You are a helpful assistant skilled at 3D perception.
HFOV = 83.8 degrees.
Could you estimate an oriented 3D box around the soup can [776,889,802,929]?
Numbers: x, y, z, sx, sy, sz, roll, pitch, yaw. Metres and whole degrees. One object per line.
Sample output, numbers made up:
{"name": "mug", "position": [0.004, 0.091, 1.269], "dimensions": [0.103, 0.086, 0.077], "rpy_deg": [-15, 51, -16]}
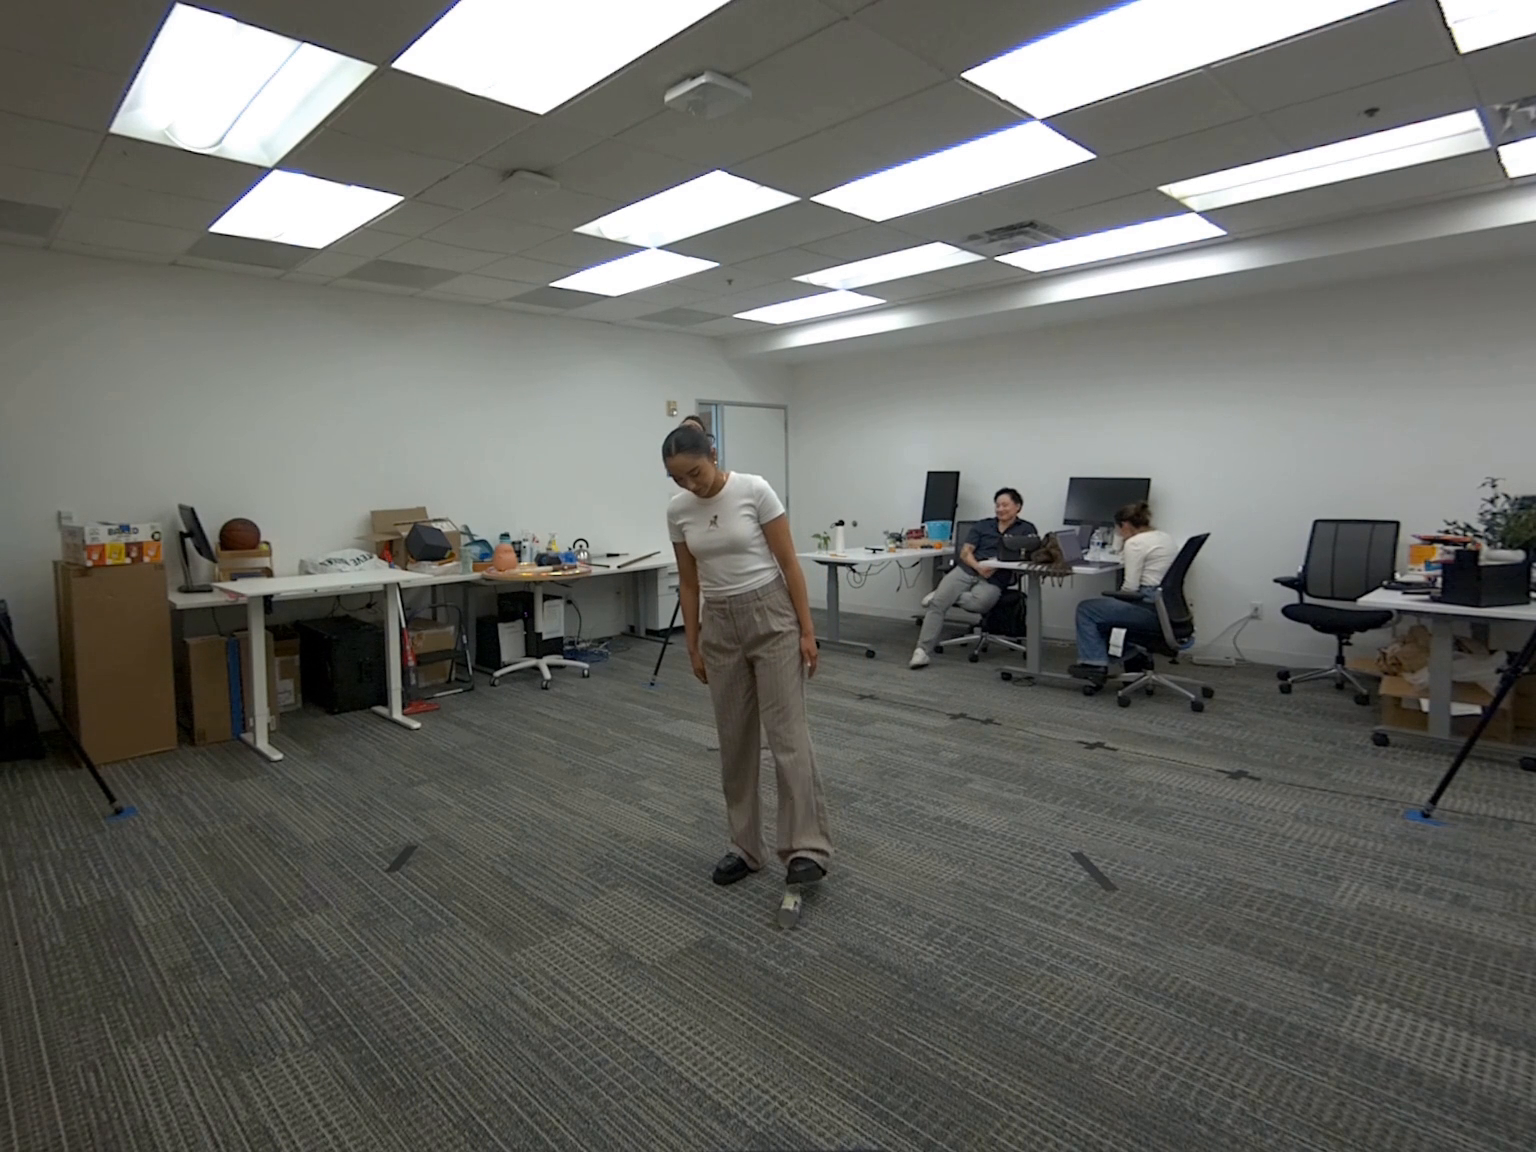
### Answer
{"name": "soup can", "position": [0.056, 1.059, 2.707], "dimensions": [0.067, 0.067, 0.122], "rpy_deg": [-1, 8, 1]}
